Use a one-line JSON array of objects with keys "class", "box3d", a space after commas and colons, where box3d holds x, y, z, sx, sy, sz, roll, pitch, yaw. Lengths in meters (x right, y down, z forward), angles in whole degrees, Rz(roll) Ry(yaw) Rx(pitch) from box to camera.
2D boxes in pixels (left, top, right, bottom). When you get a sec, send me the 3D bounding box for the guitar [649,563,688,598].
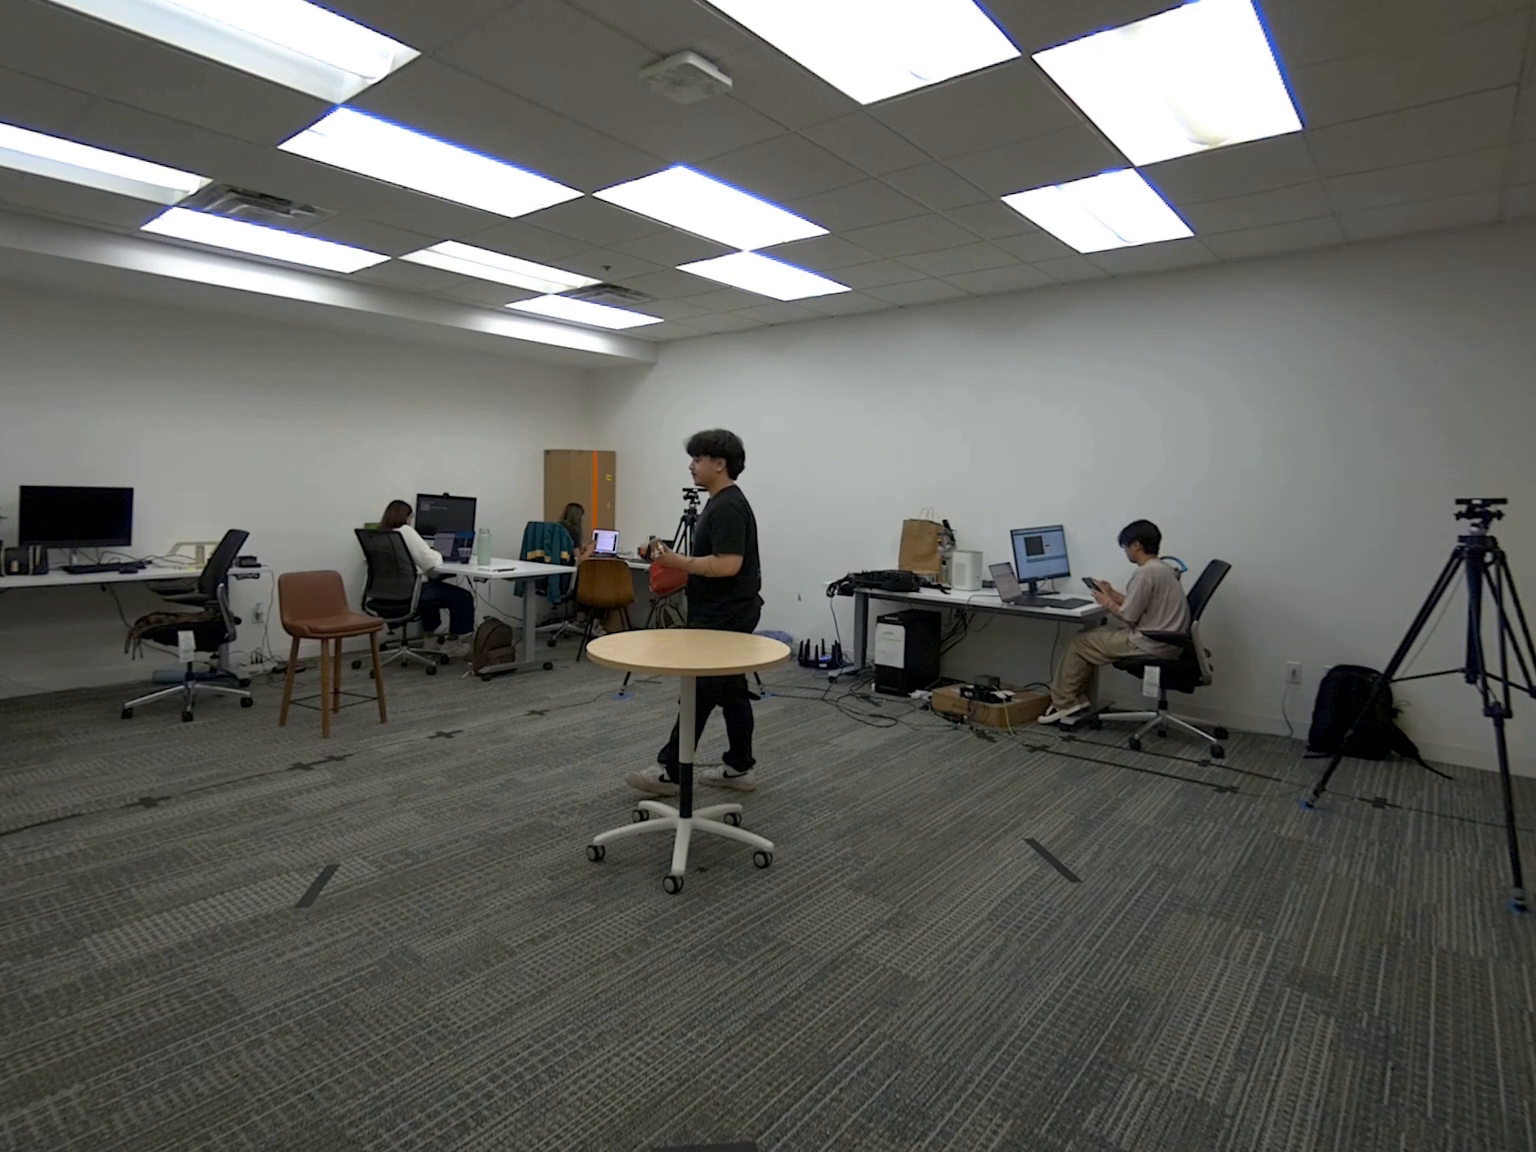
[{"class": "guitar", "box3d": [-0.513, -0.041, 3.830, 0.193, 0.072, 0.484, -22, -20, 3]}]
